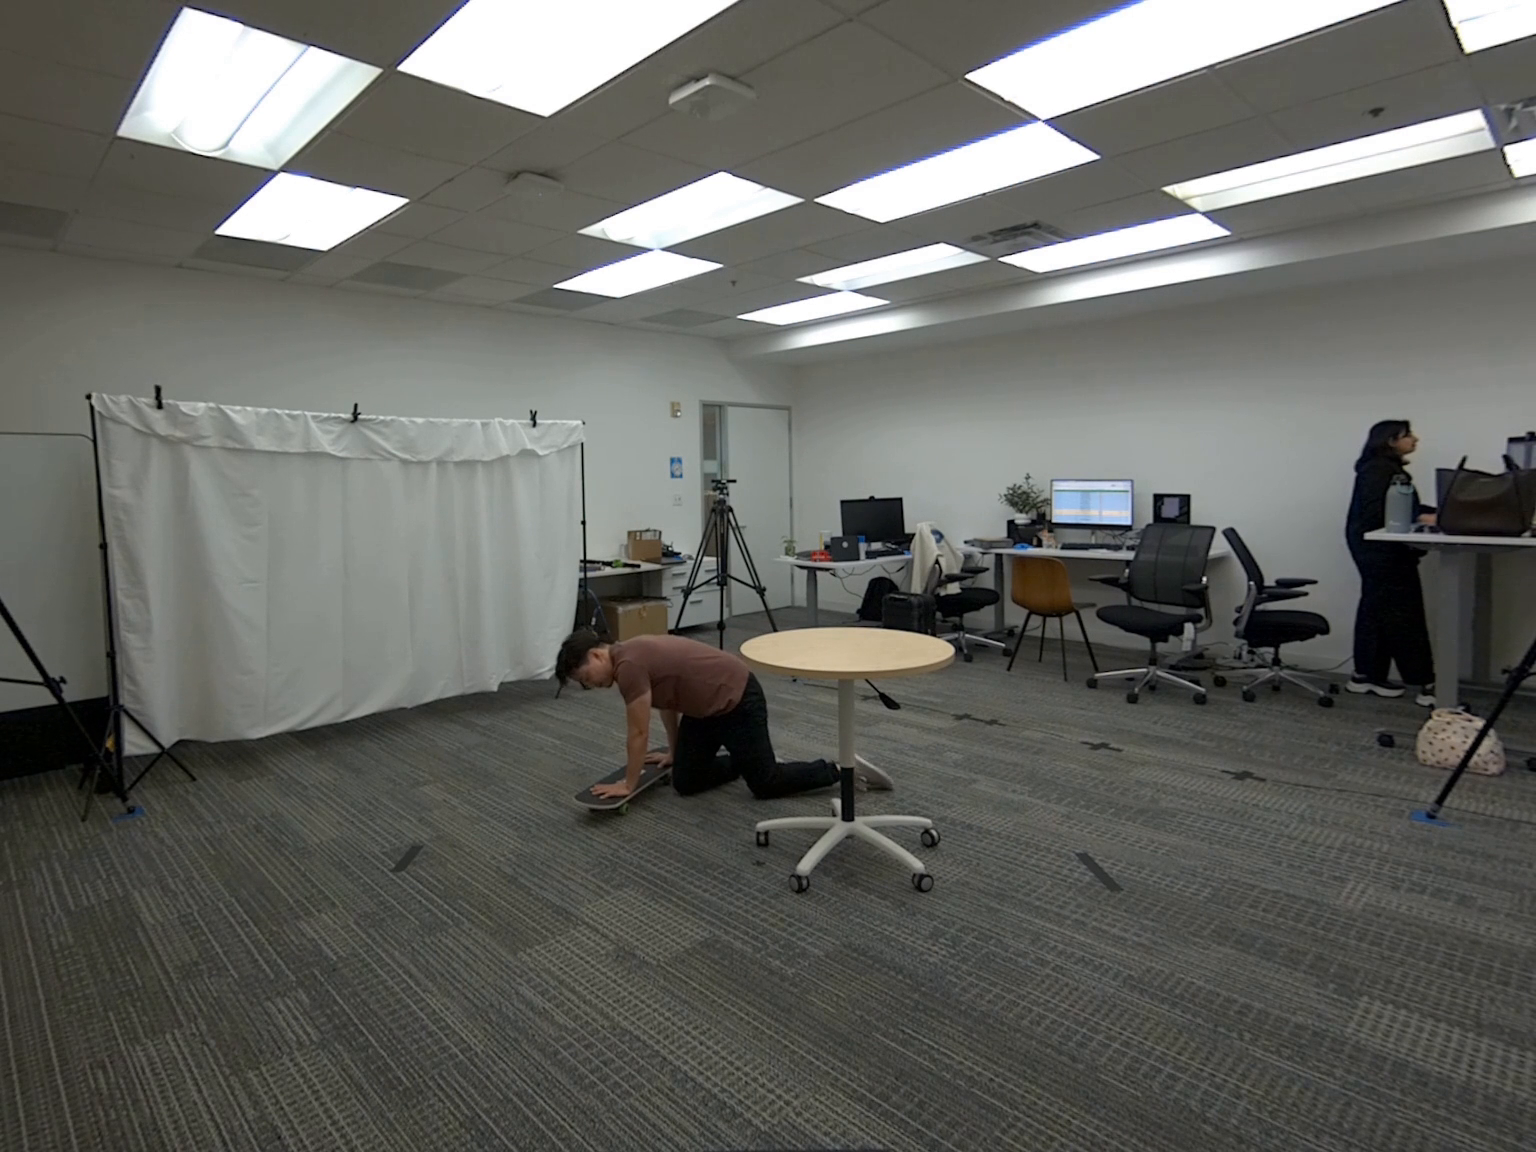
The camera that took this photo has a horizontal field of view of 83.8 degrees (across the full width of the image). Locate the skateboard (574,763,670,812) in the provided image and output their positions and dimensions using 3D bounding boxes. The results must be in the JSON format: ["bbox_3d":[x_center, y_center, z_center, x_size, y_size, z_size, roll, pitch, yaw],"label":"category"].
[{"bbox_3d":[-0.609,0.927,3.803,0.197,0.110,0.773,4,7,20],"label":"skateboard"}]
